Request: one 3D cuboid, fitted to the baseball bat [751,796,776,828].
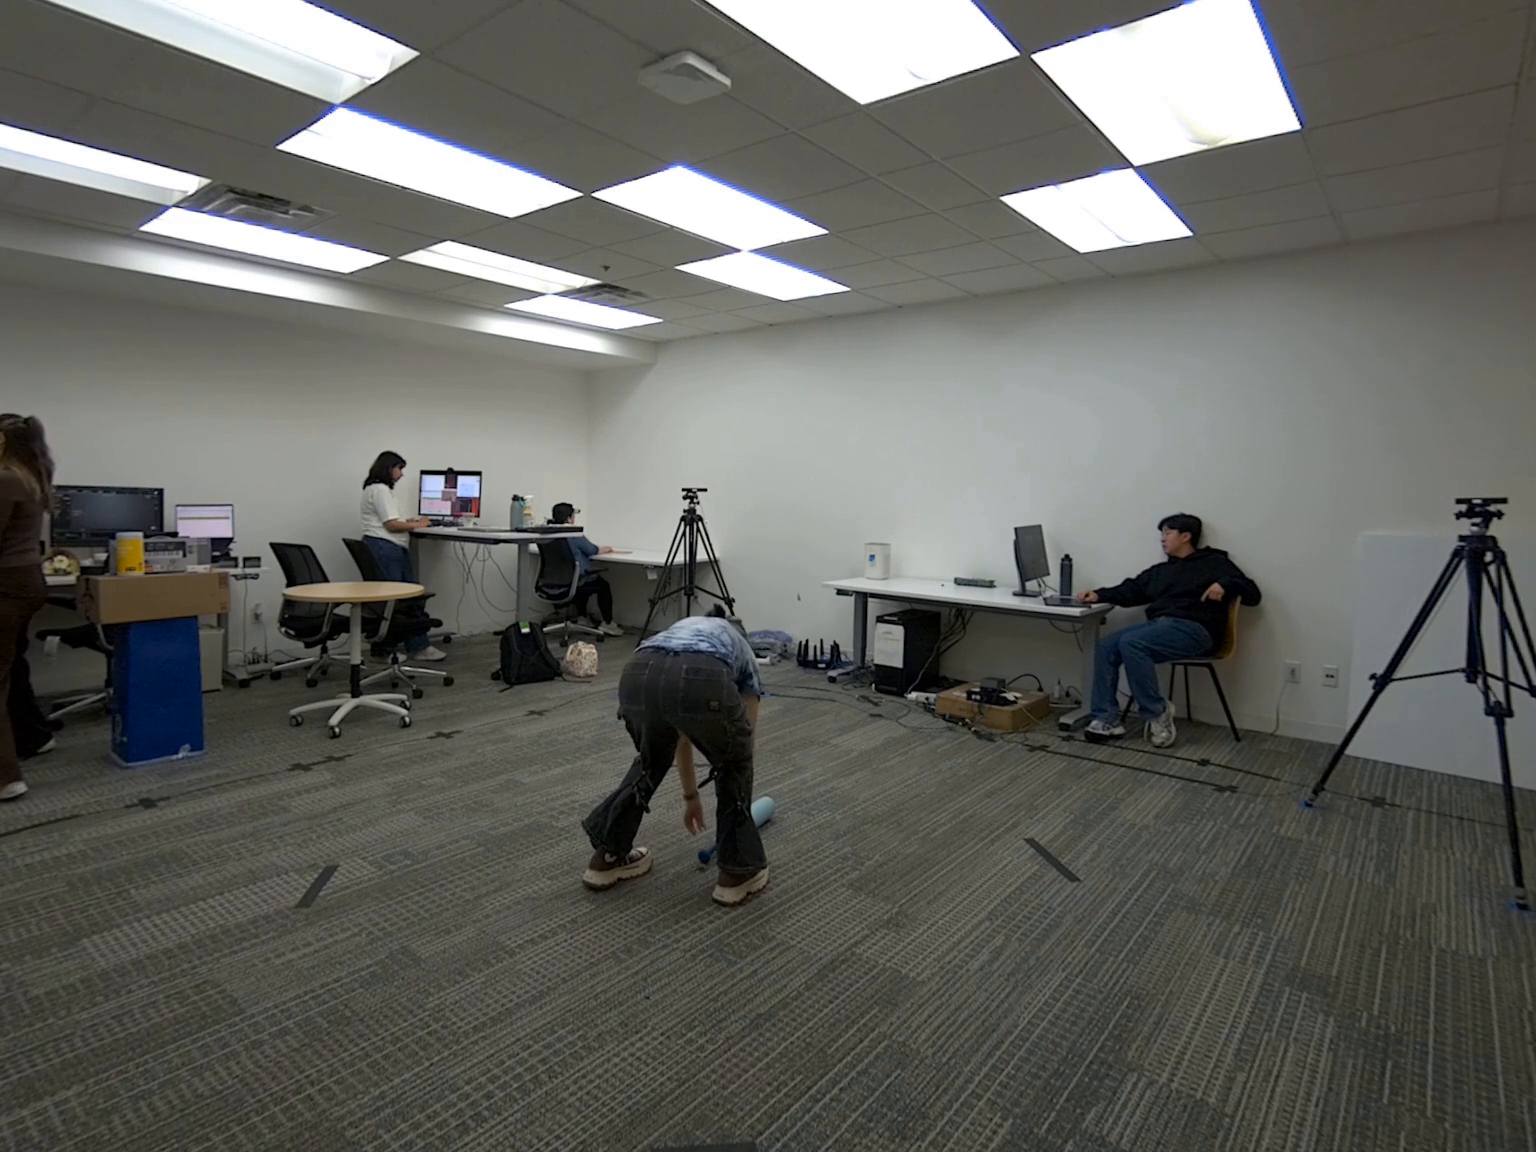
[{"bbox_3d":[-0.129,1.006,3.376,0.091,0.088,0.531,3,9,27],"label":"baseball bat"}]
